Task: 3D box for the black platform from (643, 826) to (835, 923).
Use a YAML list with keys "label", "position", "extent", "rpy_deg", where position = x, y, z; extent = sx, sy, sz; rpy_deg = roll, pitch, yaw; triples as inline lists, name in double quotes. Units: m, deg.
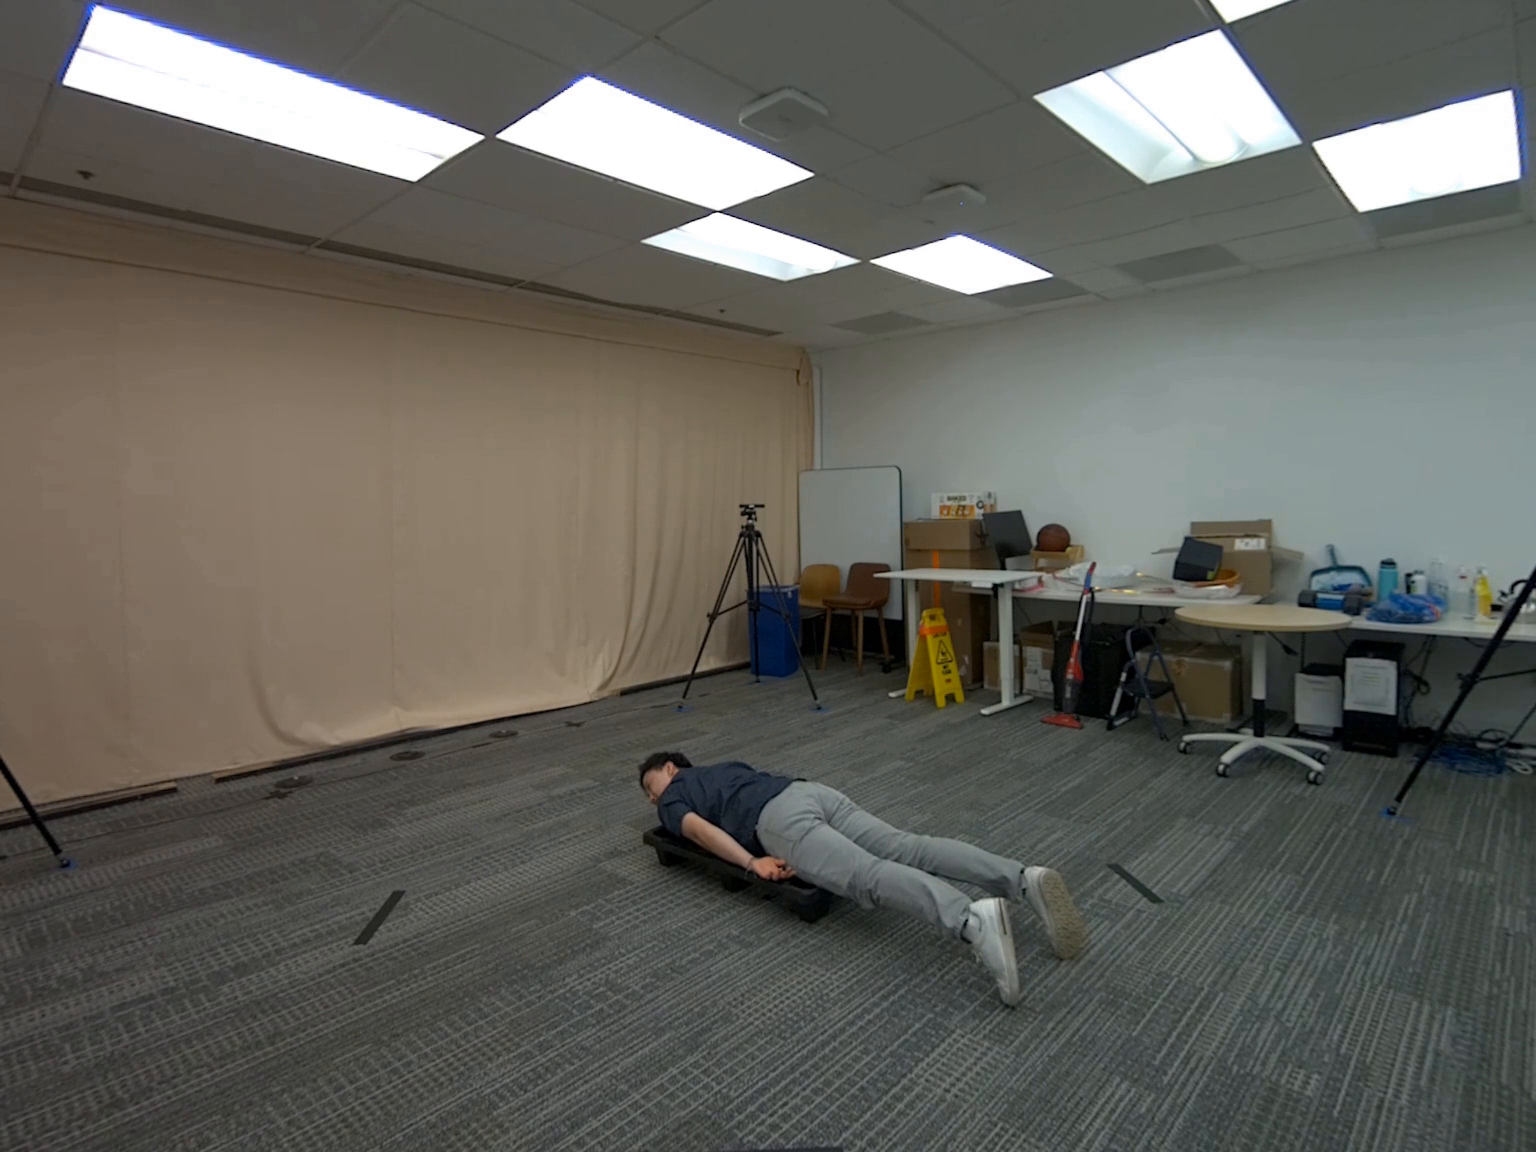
- label: "black platform"
  position: [0.016, 1.059, 3.205]
  extent: [0.832, 0.143, 0.587]
  rpy_deg: [3, 6, 40]
